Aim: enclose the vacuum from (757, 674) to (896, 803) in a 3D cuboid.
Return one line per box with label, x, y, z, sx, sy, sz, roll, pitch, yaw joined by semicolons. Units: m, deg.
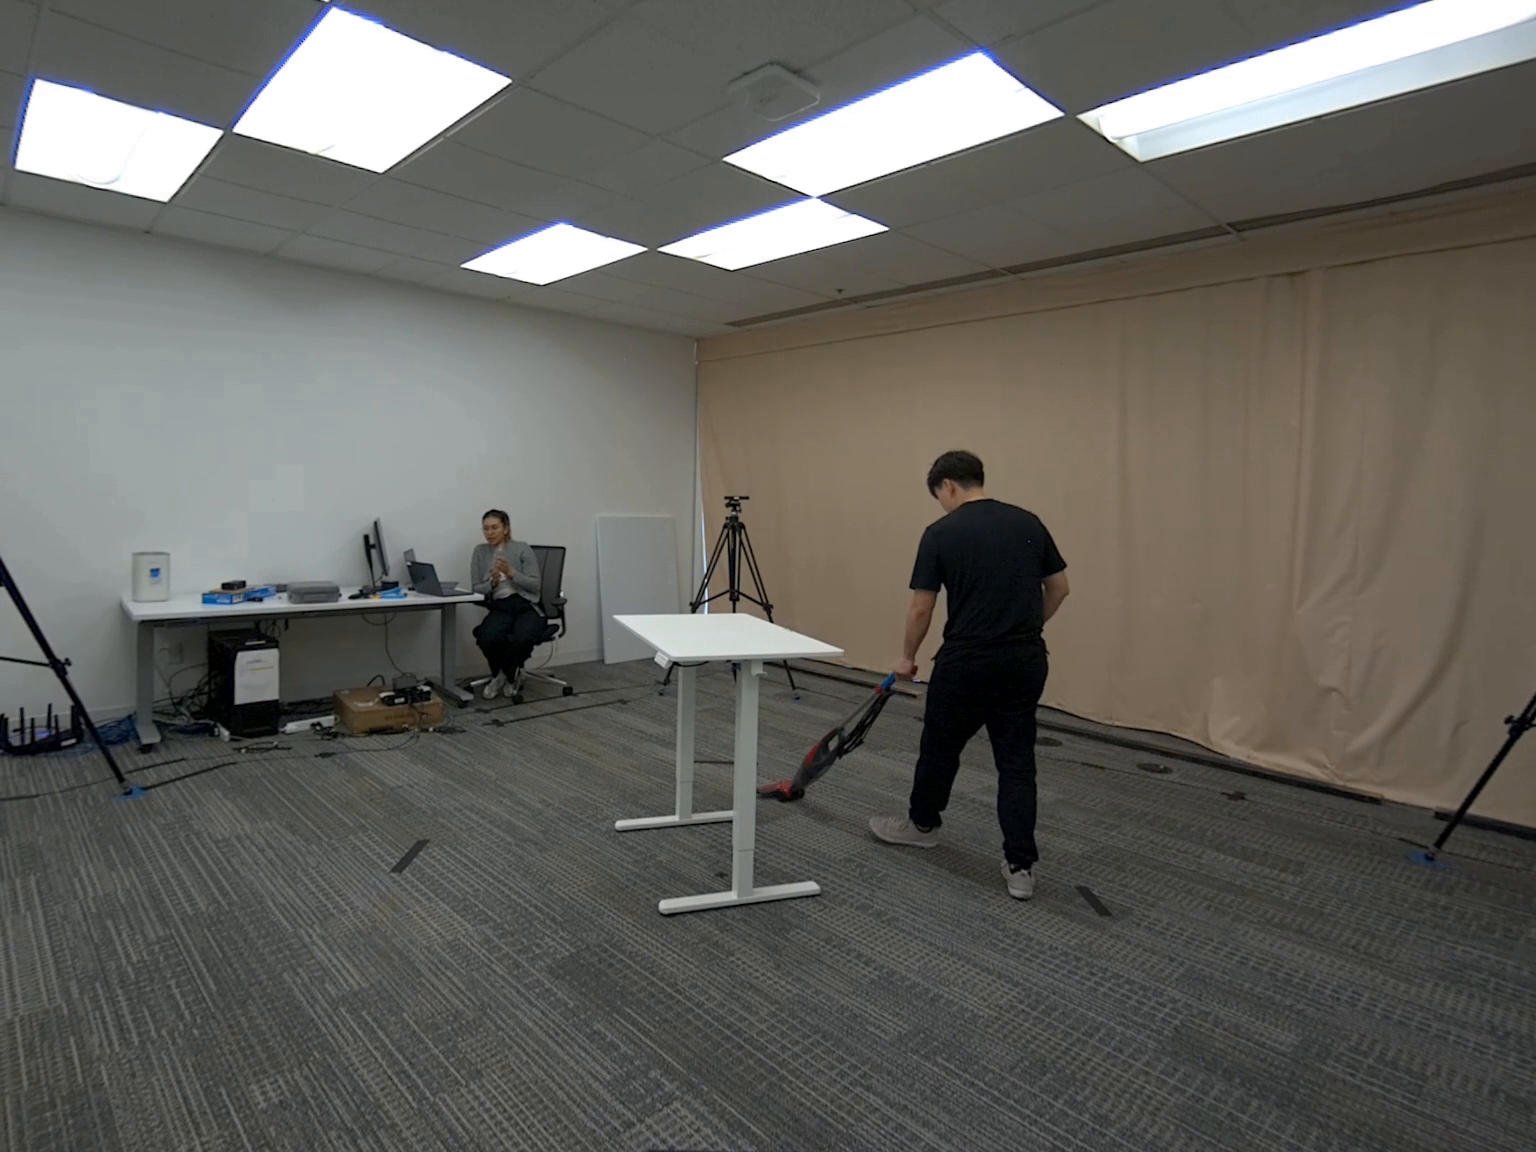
vacuum;0.313;0.699;3.650;0.247;0.148;1.046;0;-37;-38
